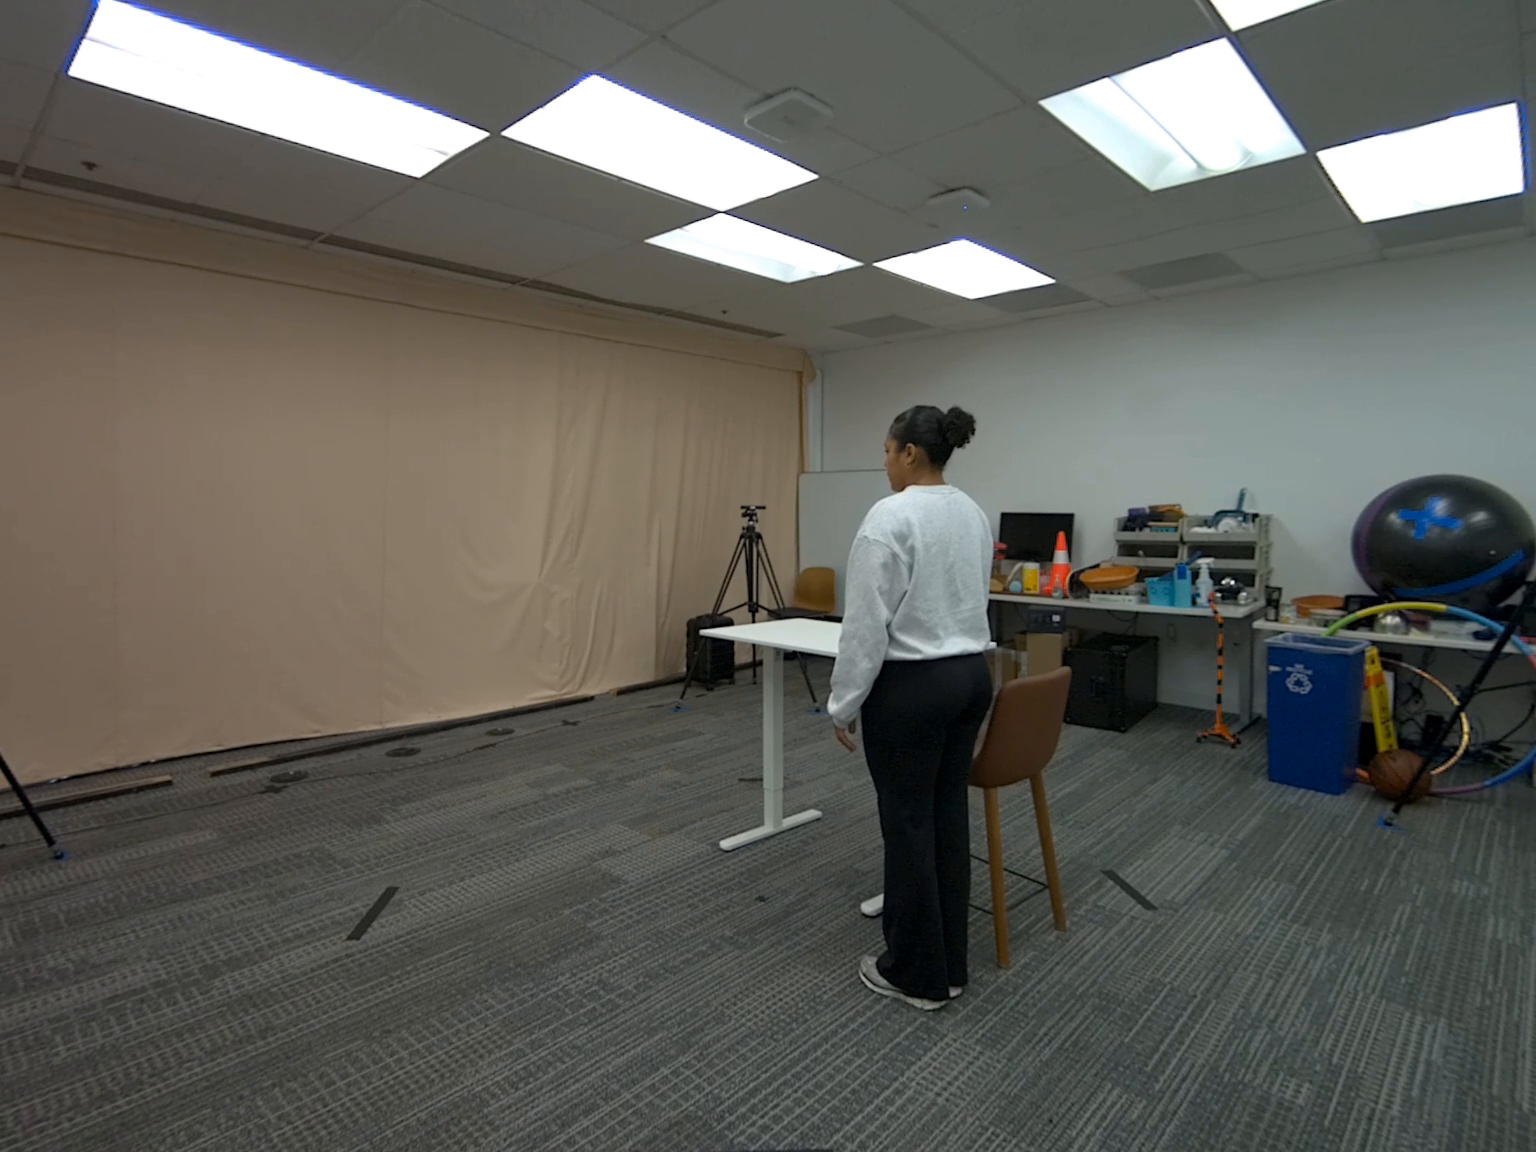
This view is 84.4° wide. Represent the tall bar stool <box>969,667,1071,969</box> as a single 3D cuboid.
[{"bbox_3d":[0.701,0.722,2.784,0.442,0.887,0.484,-3,8,-42],"label":"tall bar stool"}]
